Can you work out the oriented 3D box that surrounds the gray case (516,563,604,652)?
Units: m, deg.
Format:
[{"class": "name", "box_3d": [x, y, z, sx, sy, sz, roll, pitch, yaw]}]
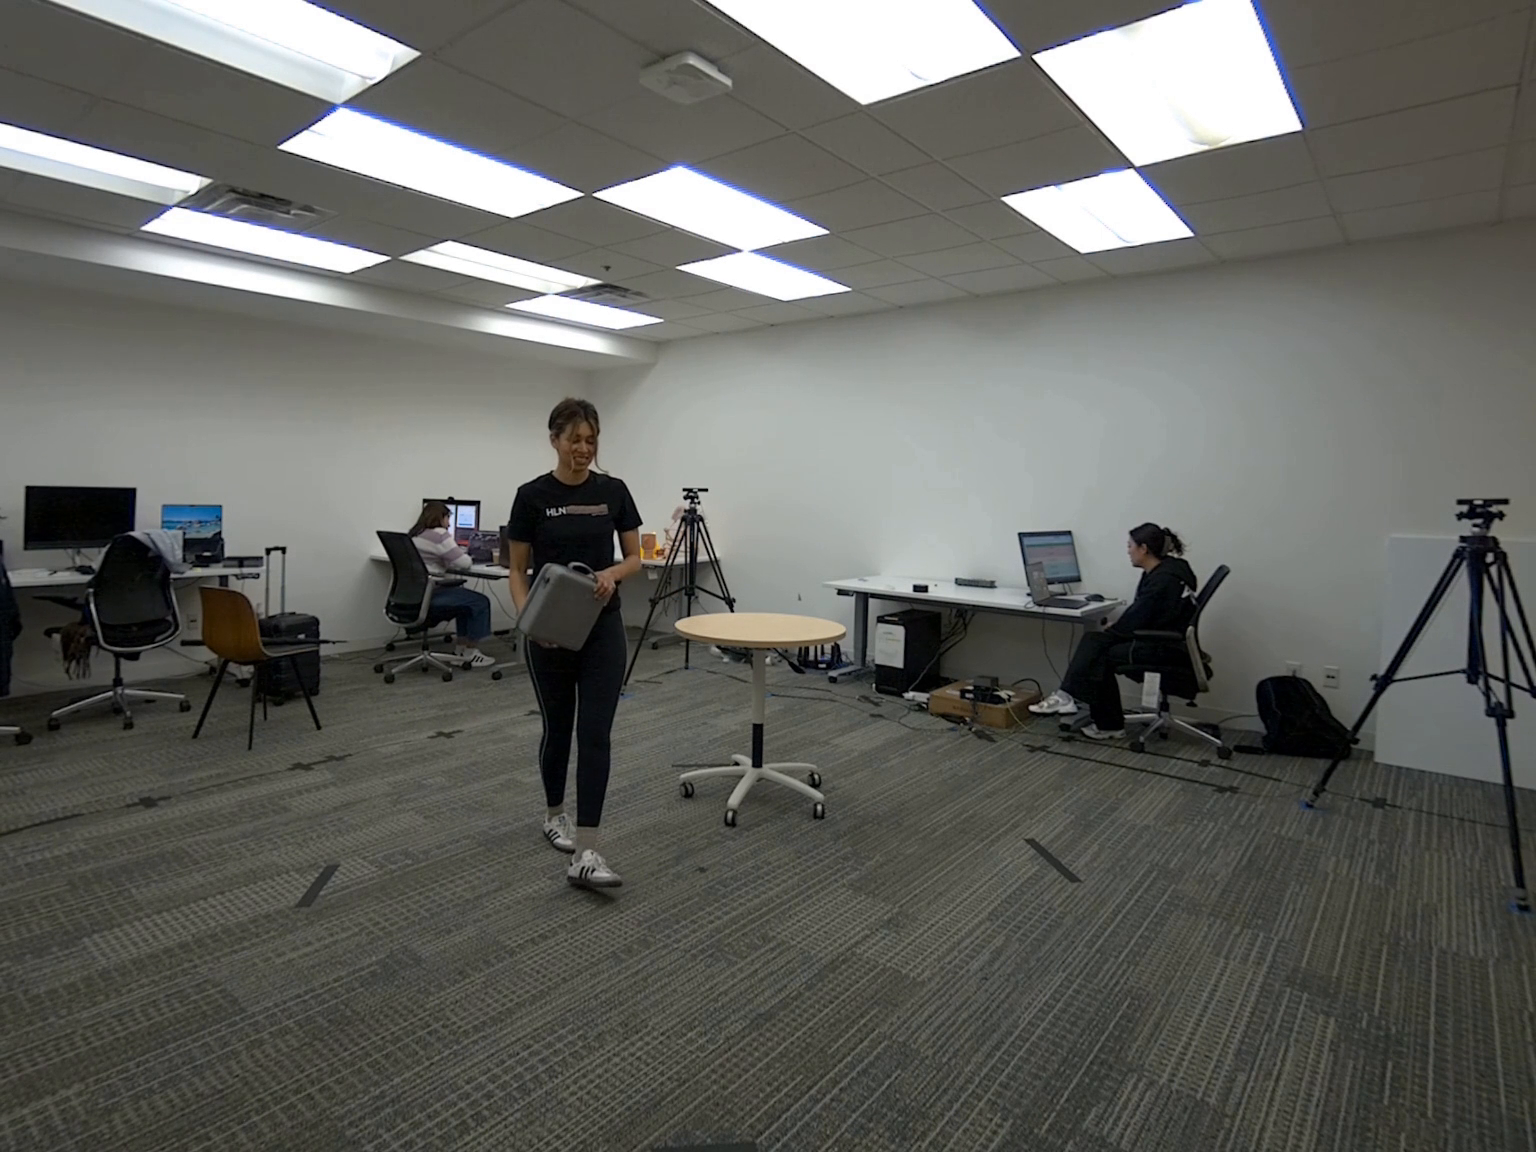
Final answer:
[{"class": "gray case", "box_3d": [-0.713, 0.103, 2.910, 0.109, 0.260, 0.246, 27, 0, 44]}]
